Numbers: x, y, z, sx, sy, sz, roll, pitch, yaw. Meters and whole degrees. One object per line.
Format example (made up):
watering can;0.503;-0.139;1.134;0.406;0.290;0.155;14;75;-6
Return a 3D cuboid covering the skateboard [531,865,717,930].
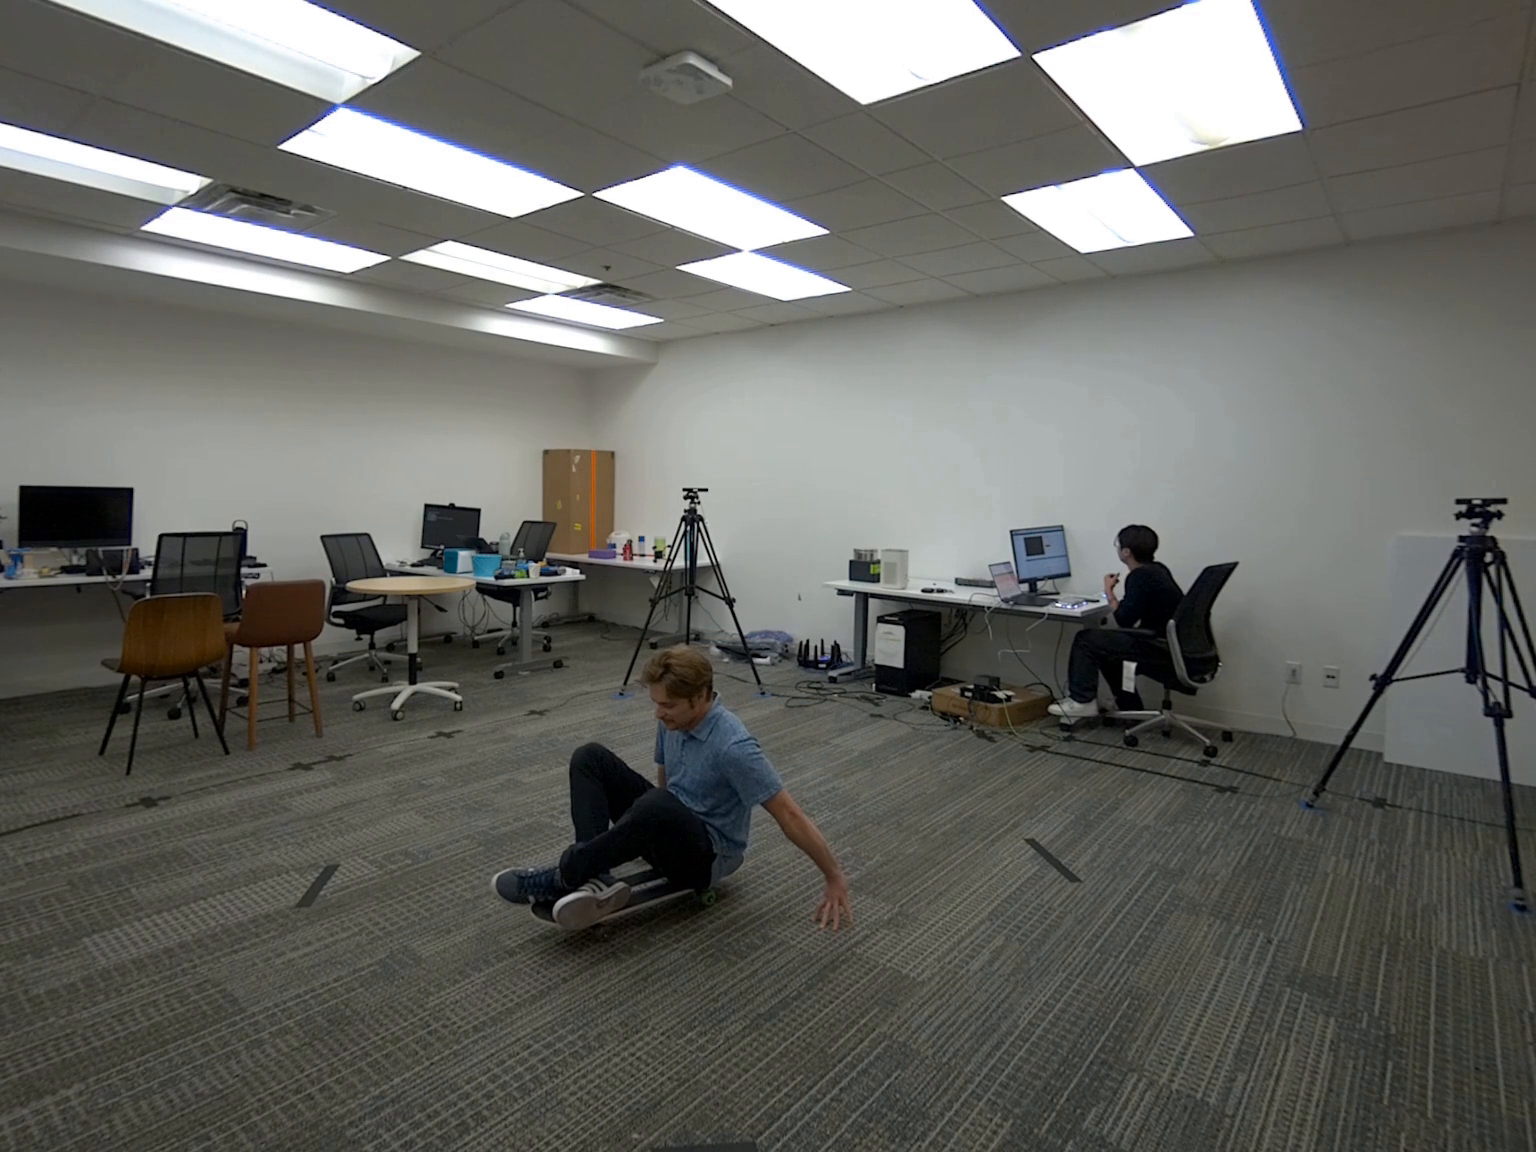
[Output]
skateboard;-0.405;1.053;2.762;0.762;0.110;0.200;-3;6;-40
